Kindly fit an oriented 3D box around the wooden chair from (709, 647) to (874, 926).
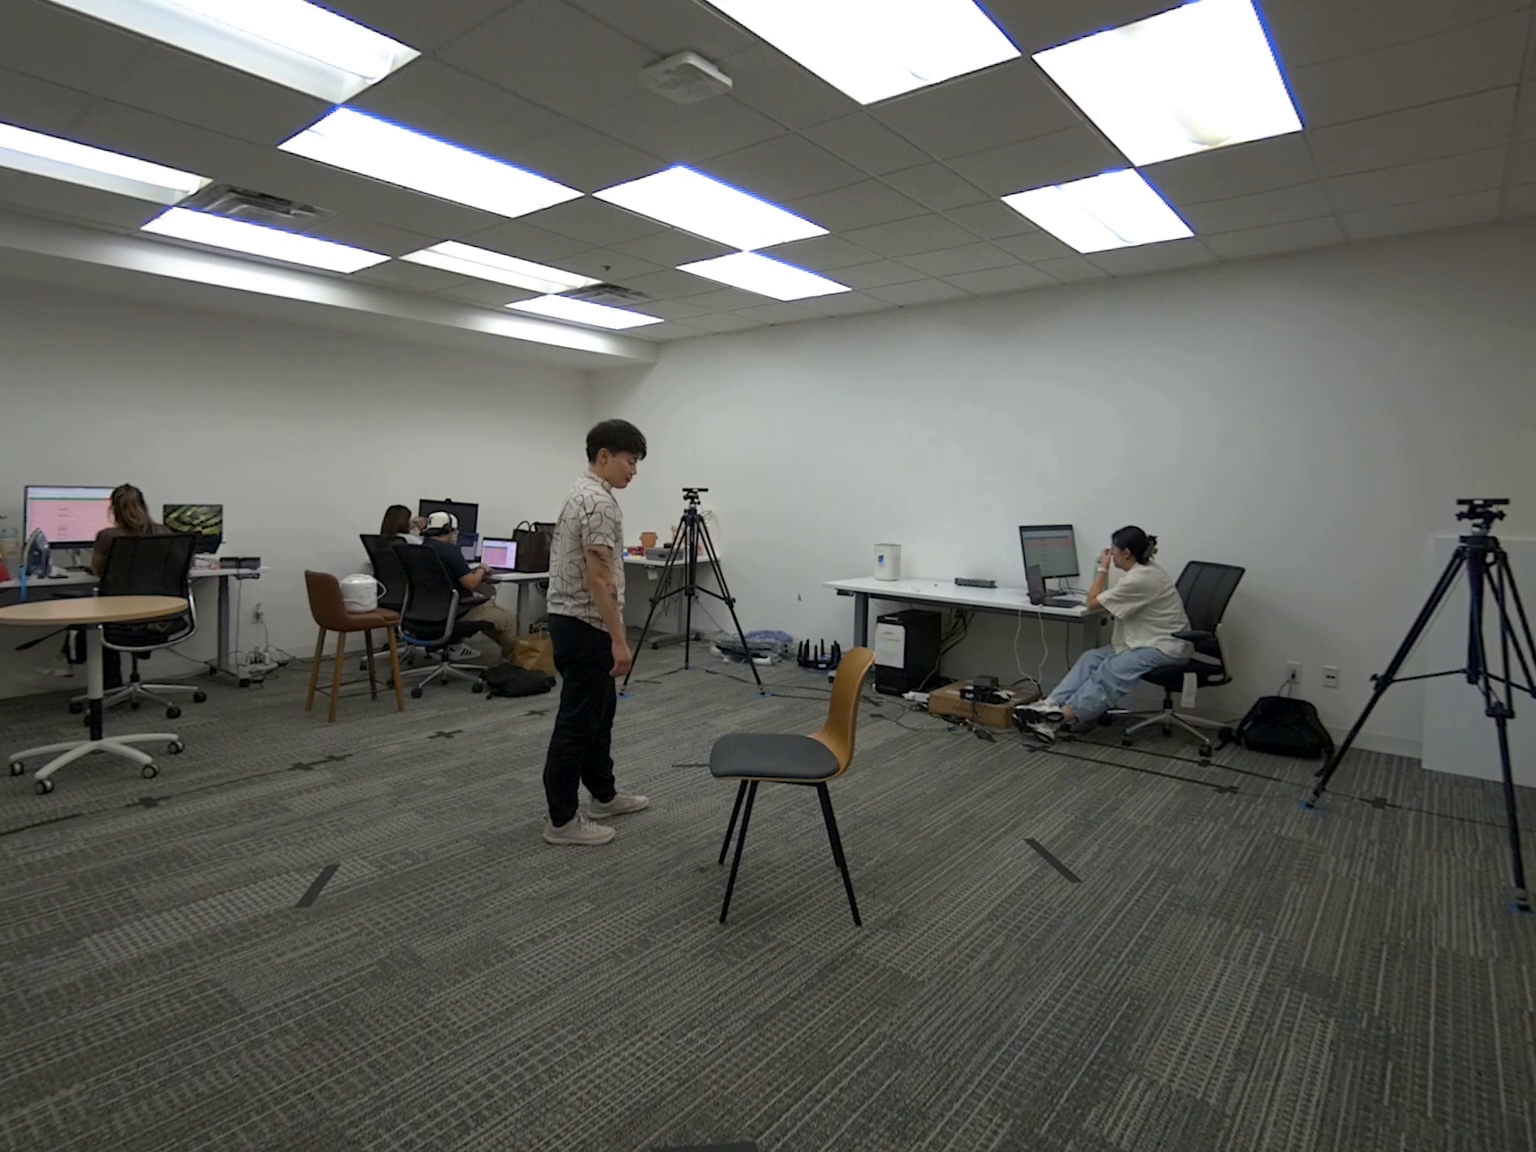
[{"bbox_3d":[0.052,0.664,2.912,0.522,0.875,0.481,5,4,-3],"label":"wooden chair"}]
